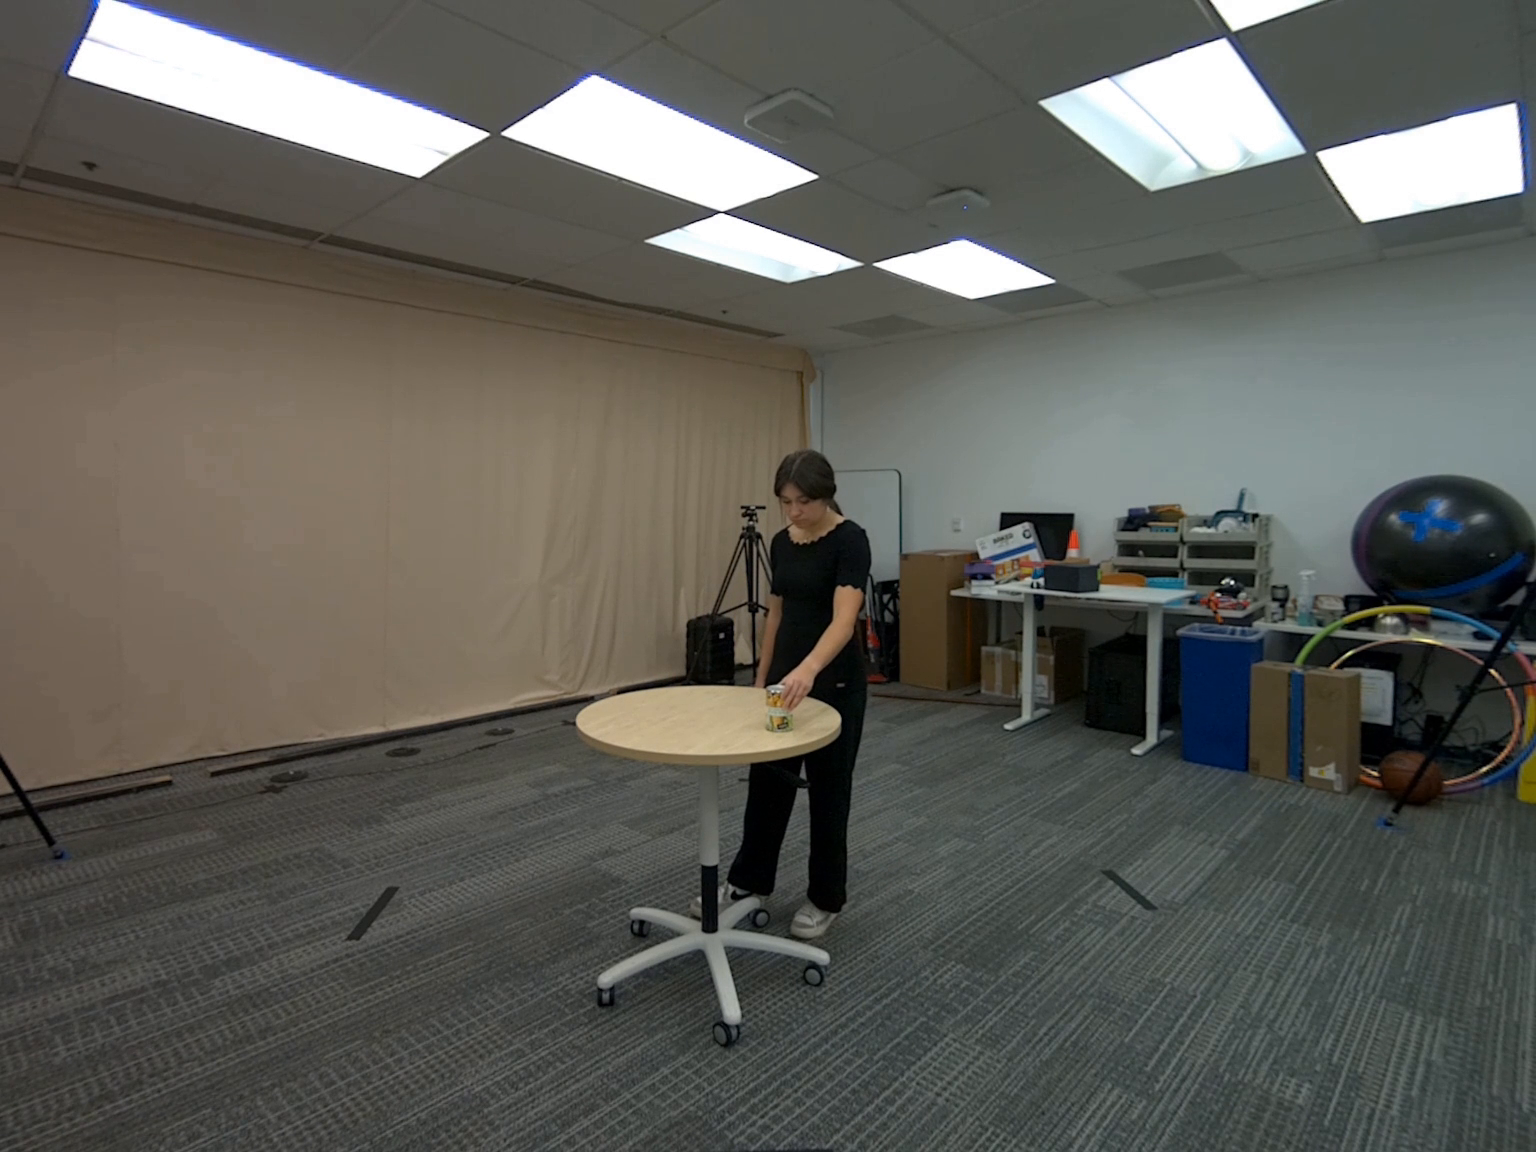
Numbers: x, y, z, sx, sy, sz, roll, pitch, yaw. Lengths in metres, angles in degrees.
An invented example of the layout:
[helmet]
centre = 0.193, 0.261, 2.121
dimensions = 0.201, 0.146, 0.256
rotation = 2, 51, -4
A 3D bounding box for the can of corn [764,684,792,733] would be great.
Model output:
[can of corn]
centre = 0.035, 0.363, 2.303
dimensions = 0.074, 0.111, 0.074
rotation = -2, 3, -2
